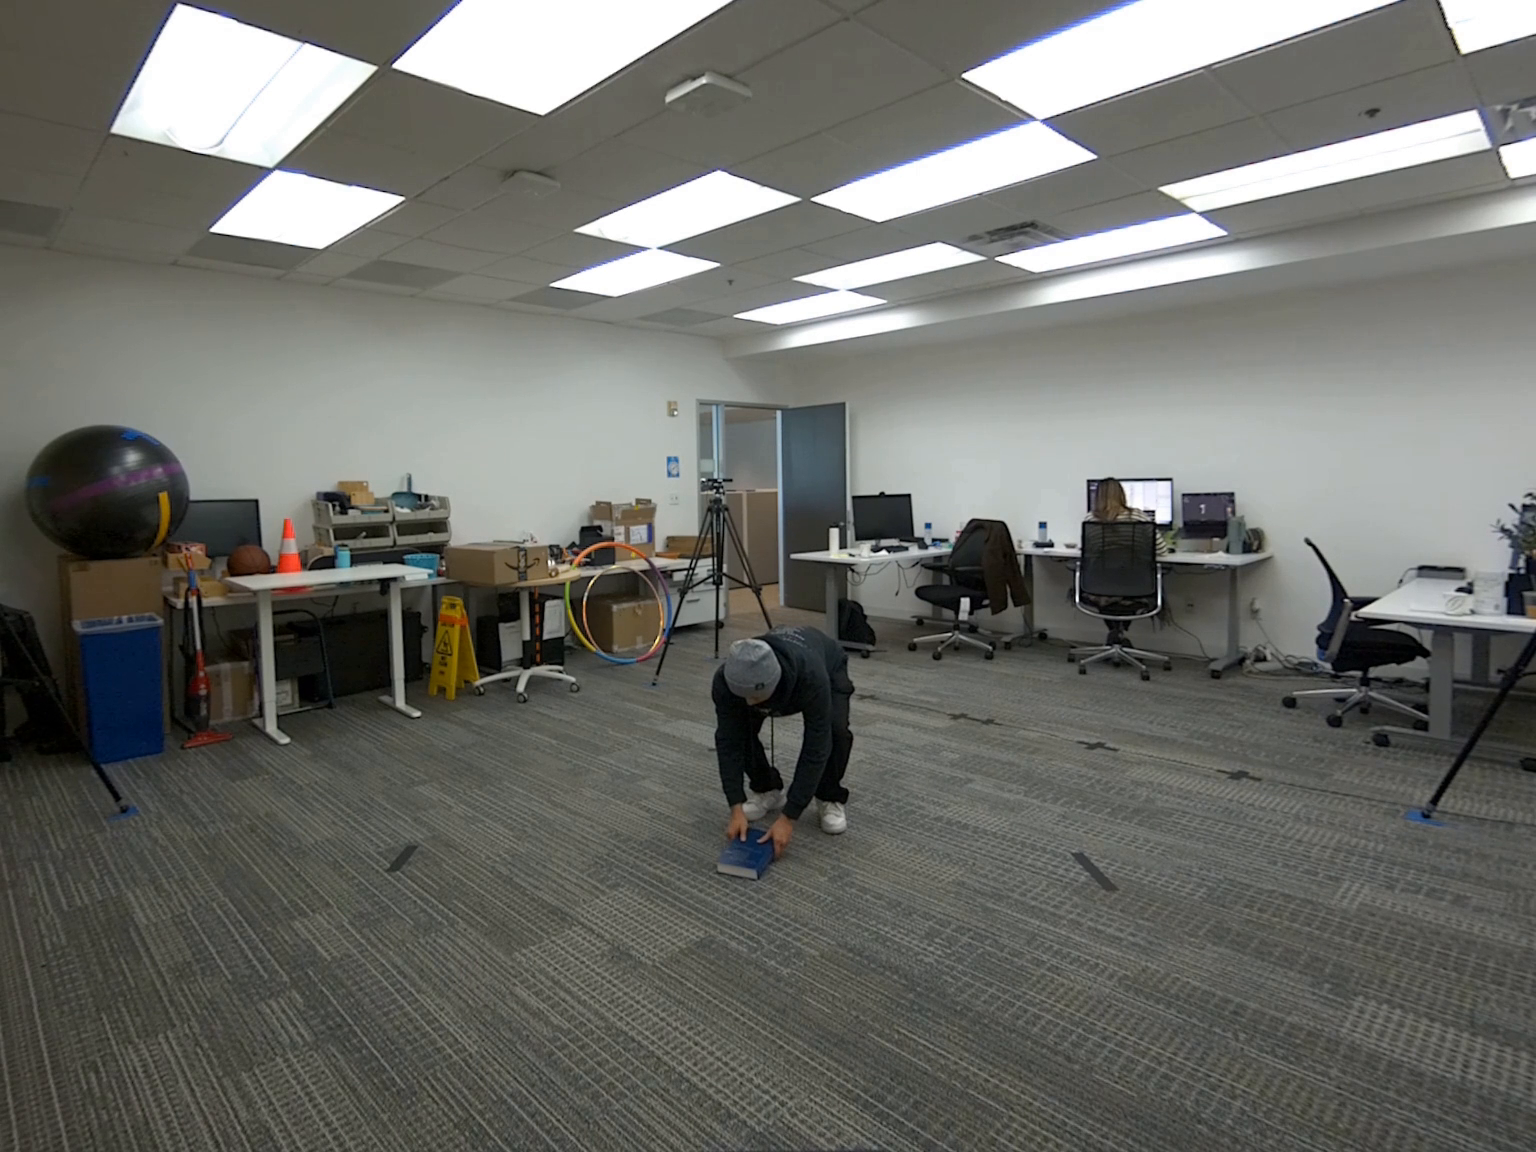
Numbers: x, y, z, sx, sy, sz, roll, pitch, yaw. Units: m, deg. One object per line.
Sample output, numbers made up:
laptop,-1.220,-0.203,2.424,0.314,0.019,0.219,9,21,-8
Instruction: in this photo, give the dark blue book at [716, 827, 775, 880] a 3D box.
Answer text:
dark blue book,-0.071,1.016,3.108,0.167,0.045,0.242,1,13,23
